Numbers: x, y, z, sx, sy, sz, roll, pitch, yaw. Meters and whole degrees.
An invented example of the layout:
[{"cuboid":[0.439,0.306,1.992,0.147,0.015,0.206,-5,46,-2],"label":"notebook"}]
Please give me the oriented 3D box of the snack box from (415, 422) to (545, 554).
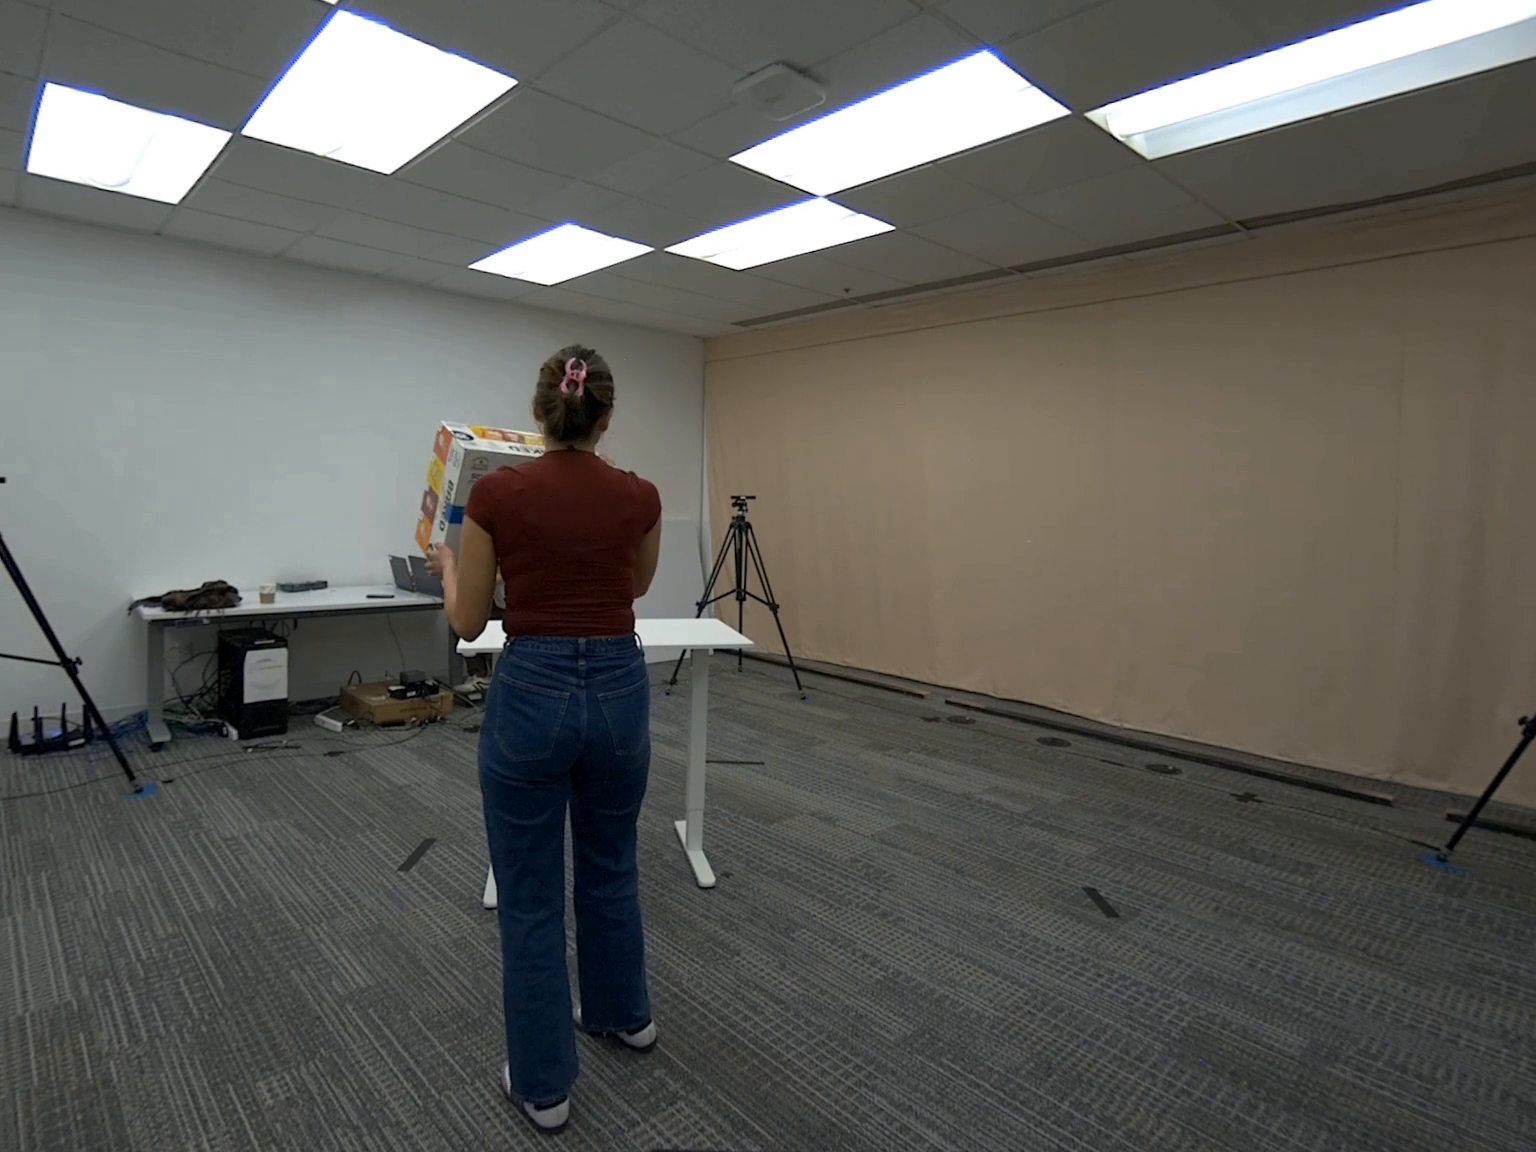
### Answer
[{"cuboid":[-0.684,-0.197,2.250,0.395,0.337,0.212,3,27,-40],"label":"snack box"}]
